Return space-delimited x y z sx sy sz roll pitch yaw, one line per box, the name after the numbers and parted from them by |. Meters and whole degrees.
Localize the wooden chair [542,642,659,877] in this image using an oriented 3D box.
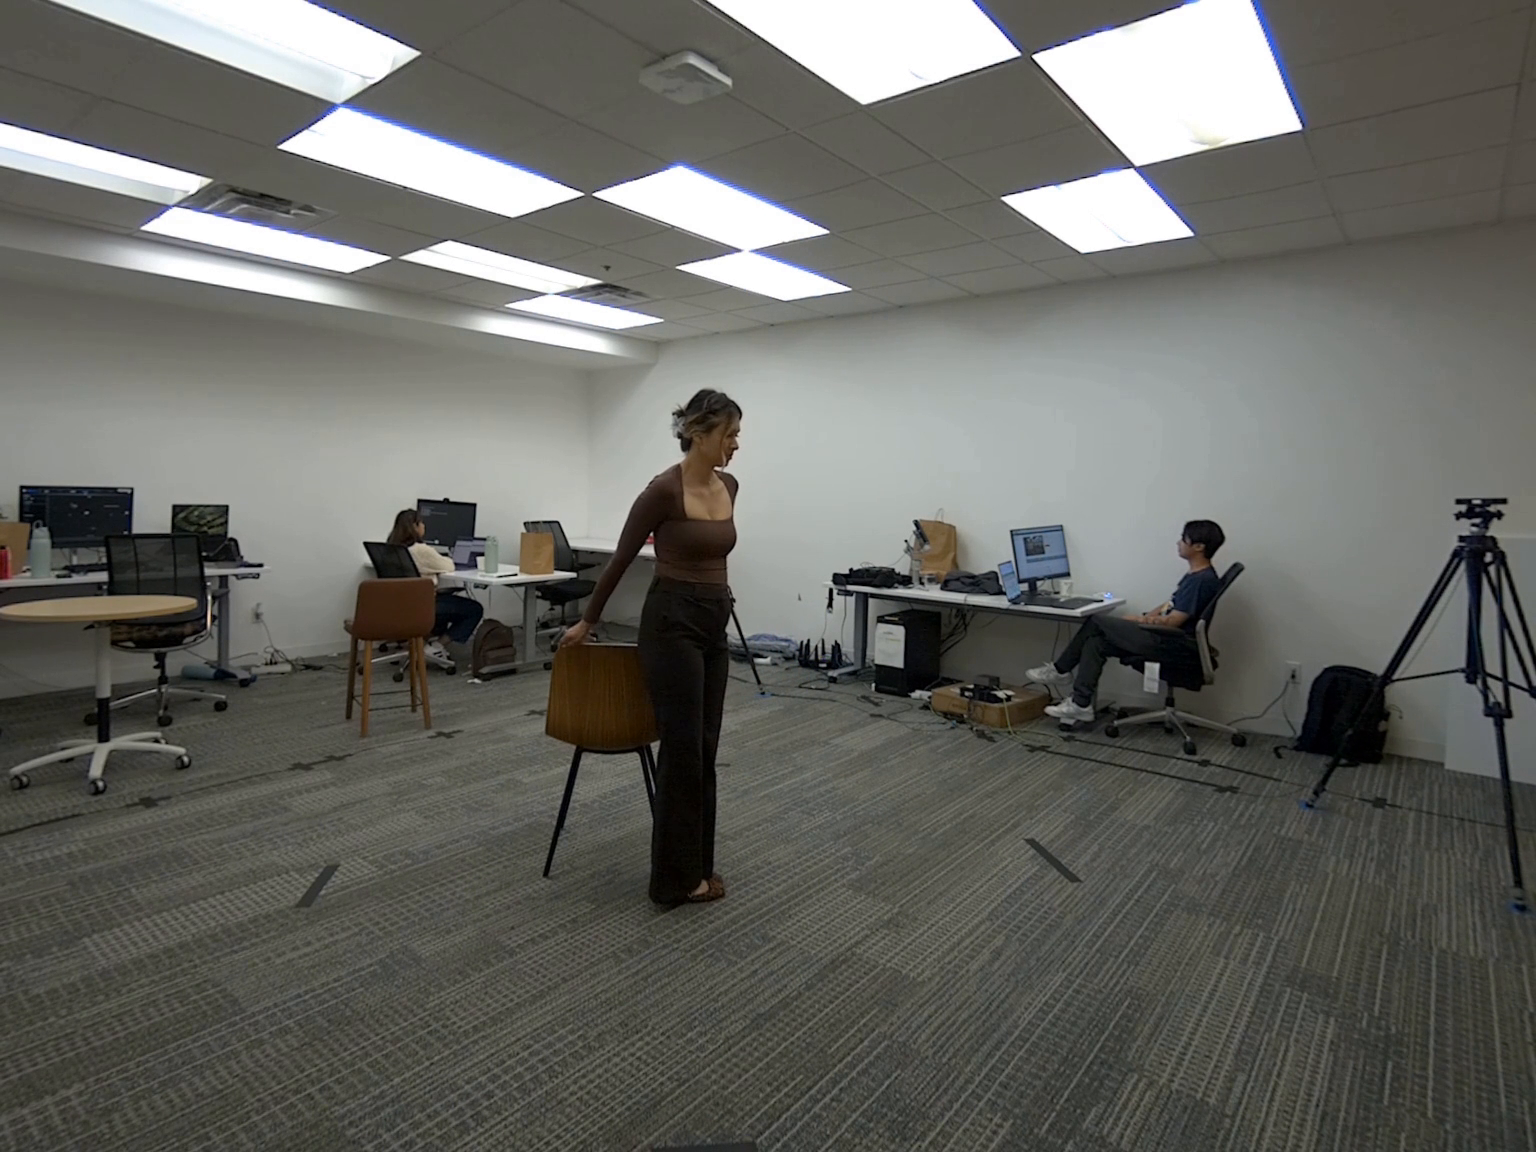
-0.609 0.620 3.238 0.476 0.872 0.529 1 7 -5 | wooden chair
